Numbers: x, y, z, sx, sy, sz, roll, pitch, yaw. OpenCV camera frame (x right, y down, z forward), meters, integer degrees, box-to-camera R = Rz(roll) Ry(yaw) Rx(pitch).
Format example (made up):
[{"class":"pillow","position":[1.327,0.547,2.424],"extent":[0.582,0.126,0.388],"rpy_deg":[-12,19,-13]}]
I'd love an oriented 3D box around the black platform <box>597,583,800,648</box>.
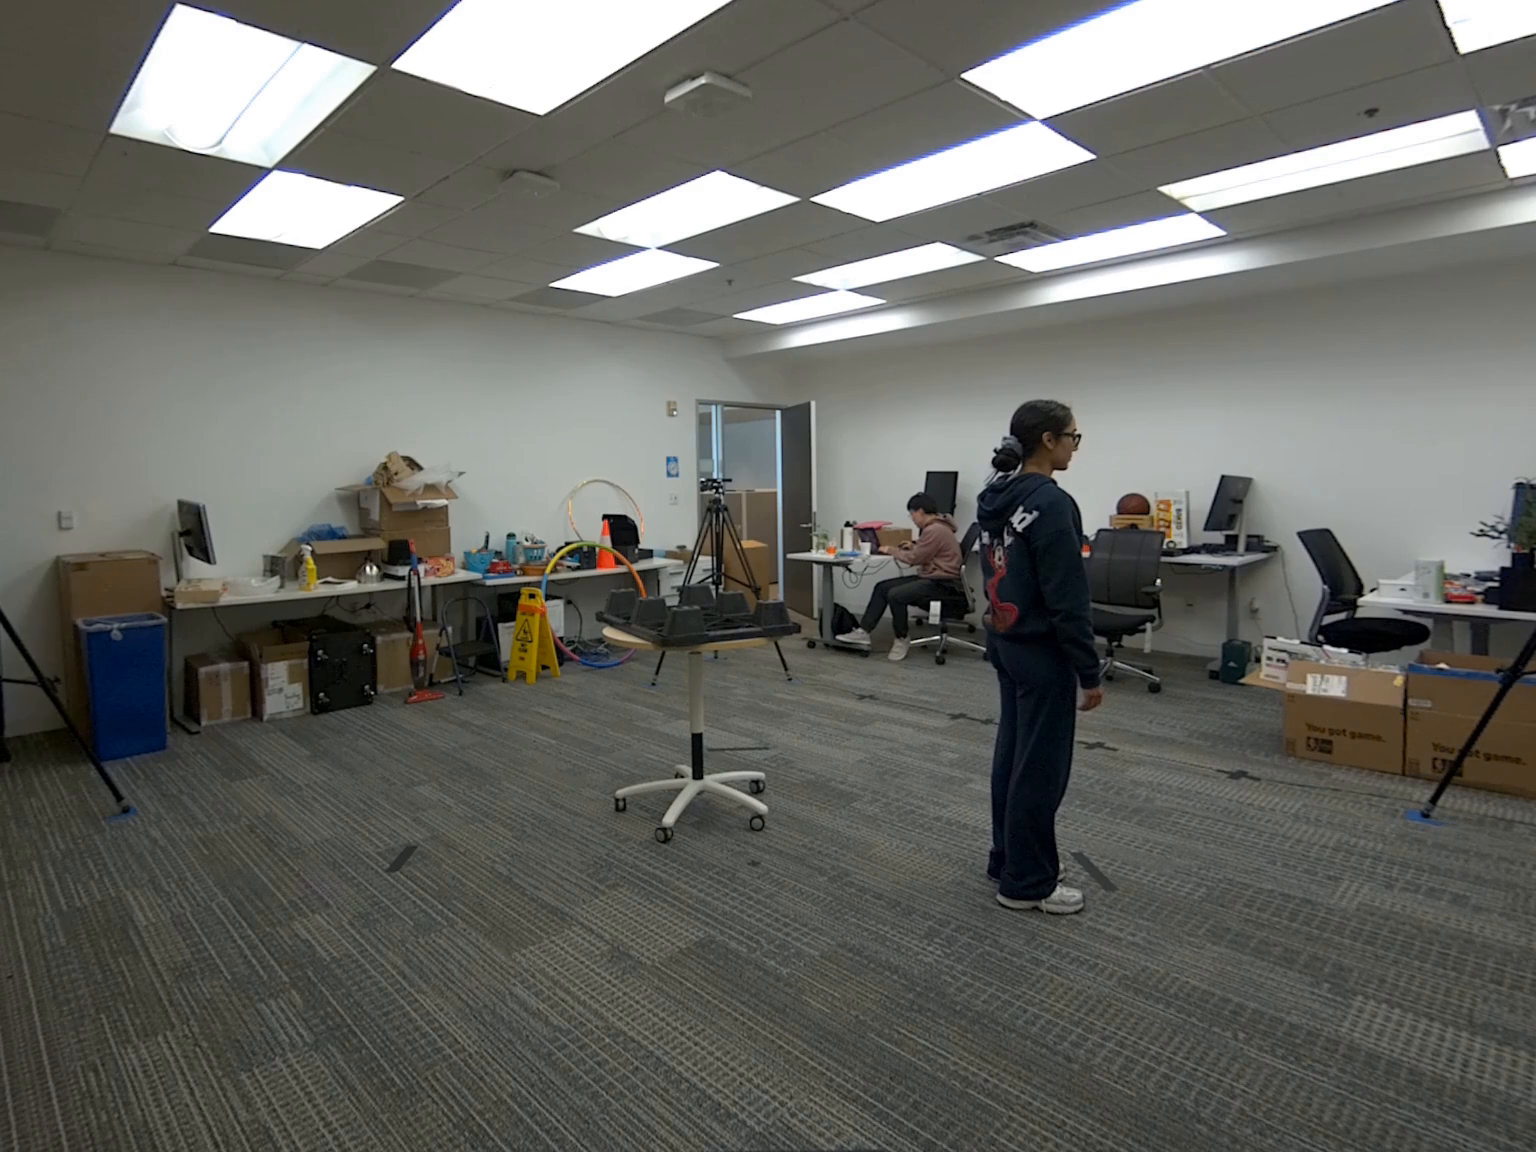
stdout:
[{"class":"black platform","position":[-0.322,0.149,3.596],"extent":[0.591,0.143,0.827],"rpy_deg":[-4,7,-28]}]
